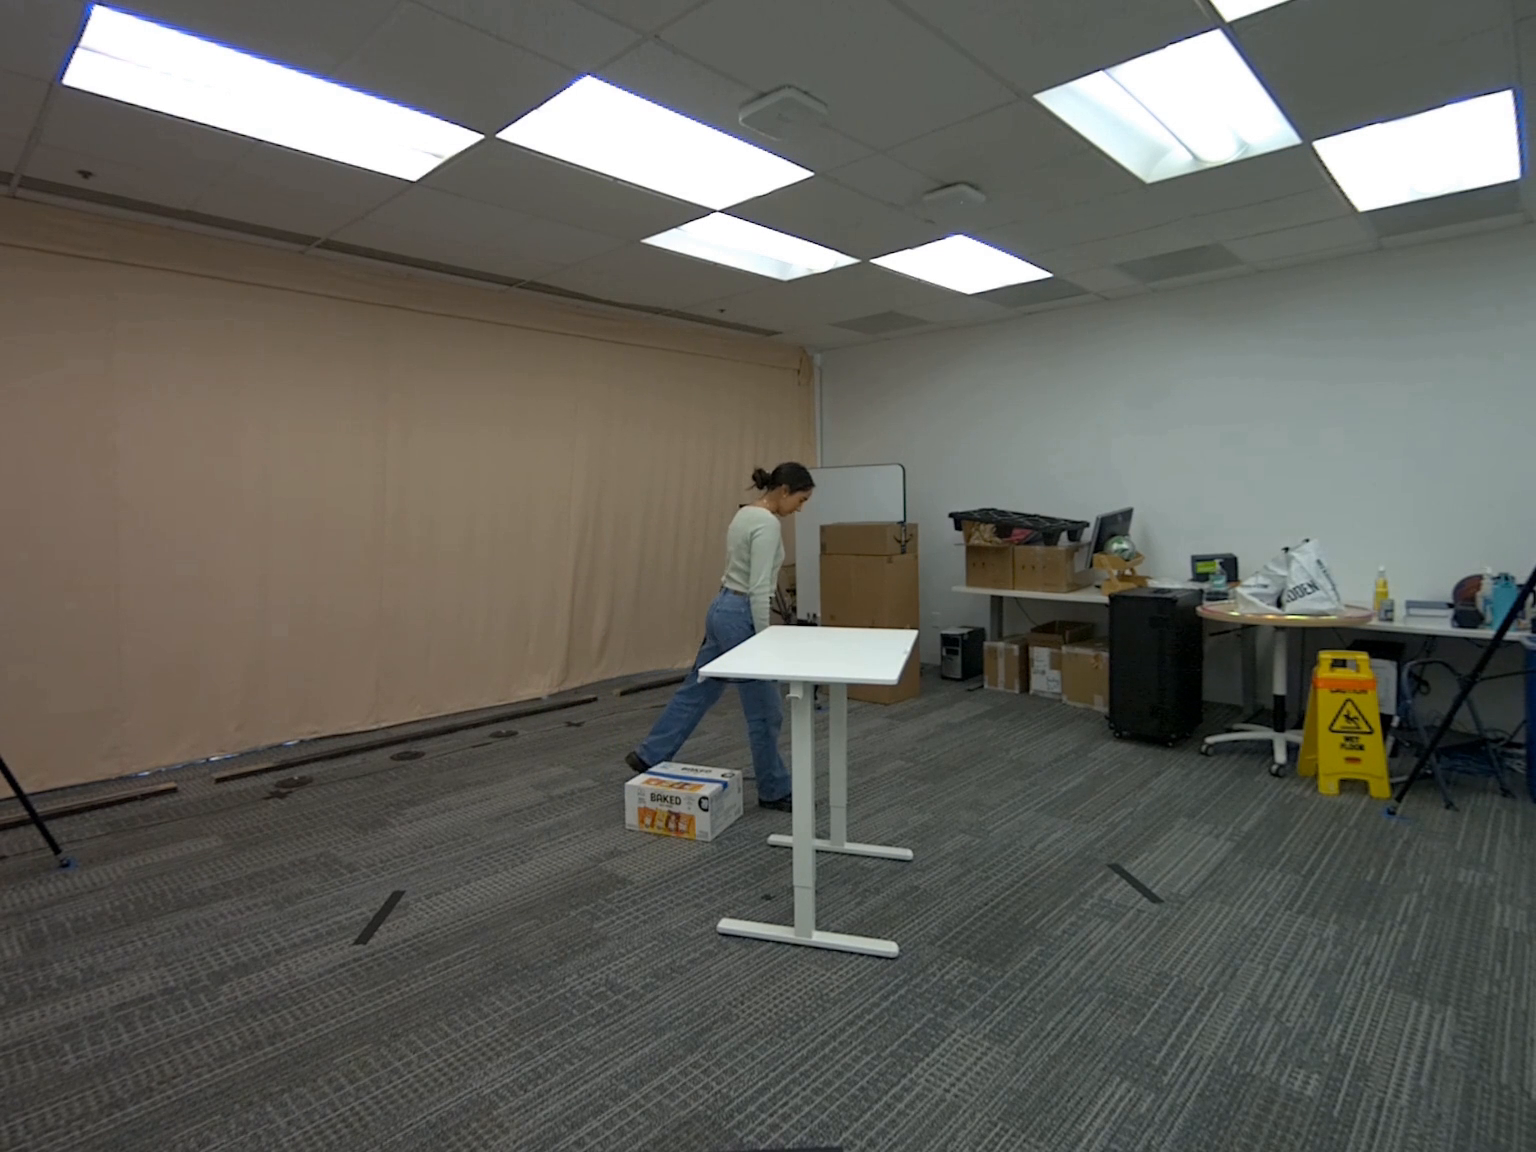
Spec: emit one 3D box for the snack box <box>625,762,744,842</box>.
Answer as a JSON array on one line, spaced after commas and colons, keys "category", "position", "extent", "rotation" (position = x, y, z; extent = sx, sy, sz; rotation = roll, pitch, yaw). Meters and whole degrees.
[{"category": "snack box", "position": [-0.365, 0.984, 3.707], "extent": [0.415, 0.205, 0.333], "rotation": [1, 5, 24]}]
